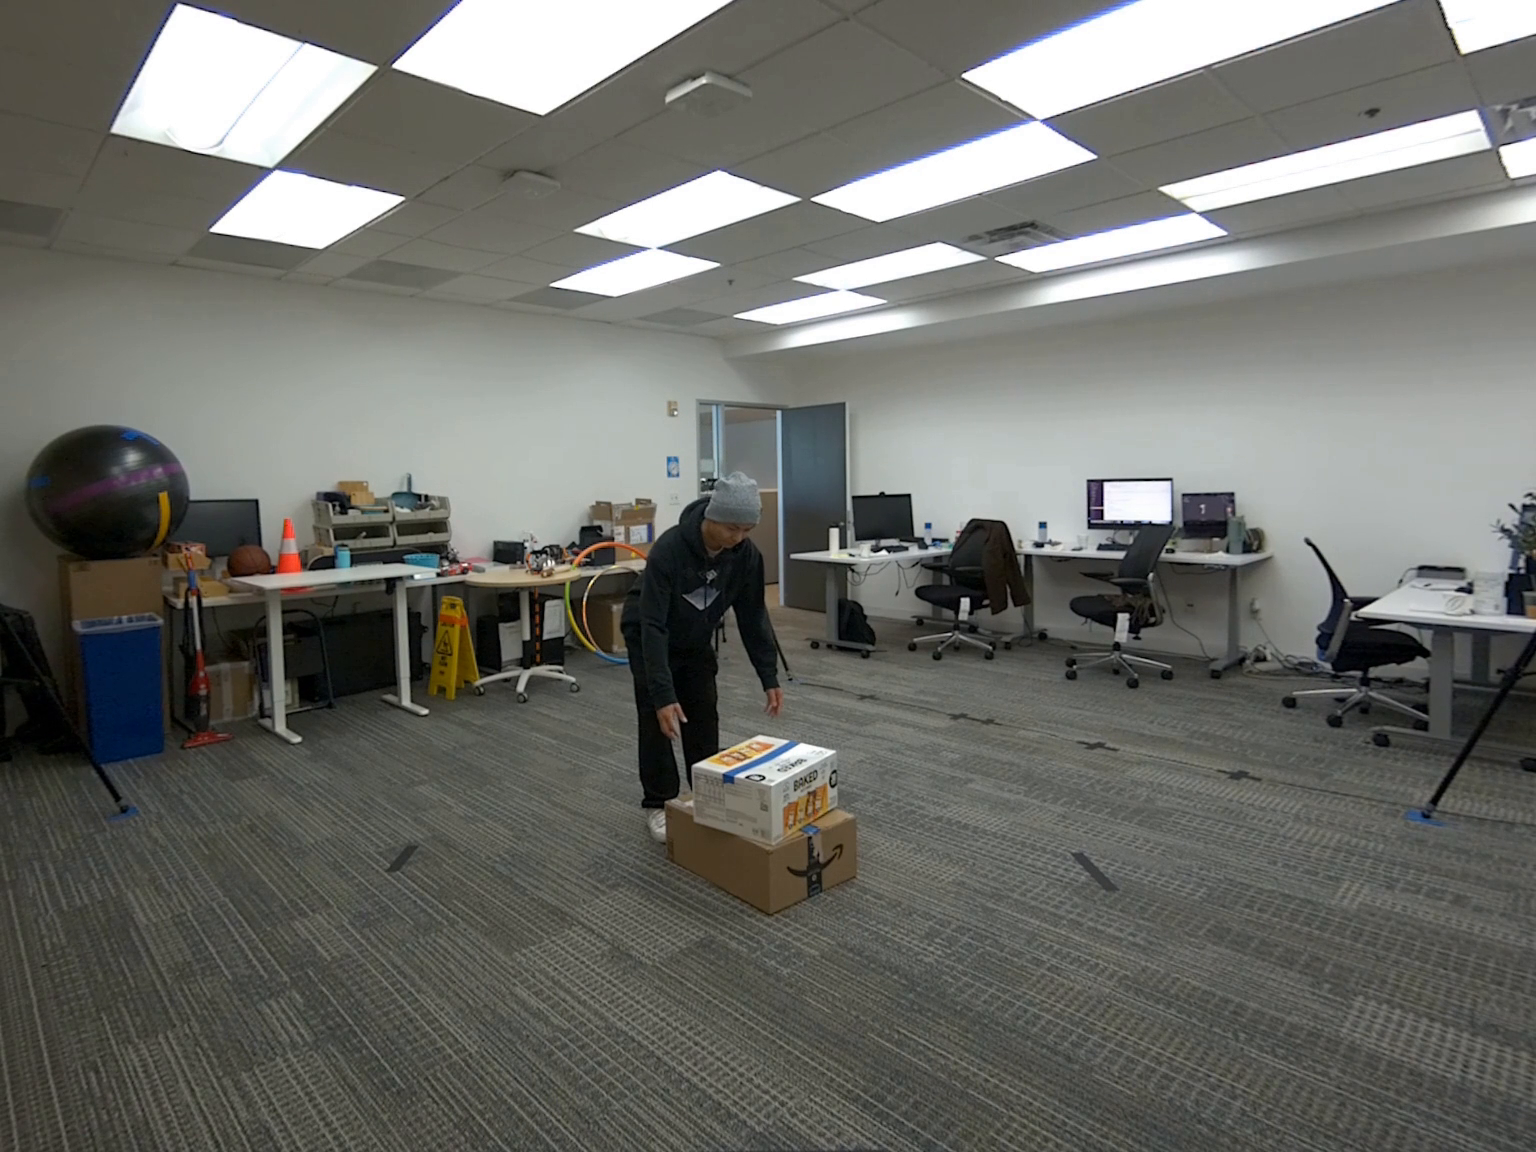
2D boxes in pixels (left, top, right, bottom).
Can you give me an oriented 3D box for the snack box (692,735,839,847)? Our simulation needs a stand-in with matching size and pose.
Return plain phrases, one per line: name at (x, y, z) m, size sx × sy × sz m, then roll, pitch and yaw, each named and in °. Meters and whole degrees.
snack box at (-0.004, 0.738, 2.992) m, size 0.350 × 0.205 × 0.395 m, roll 3°, pitch 8°, yaw 37°
